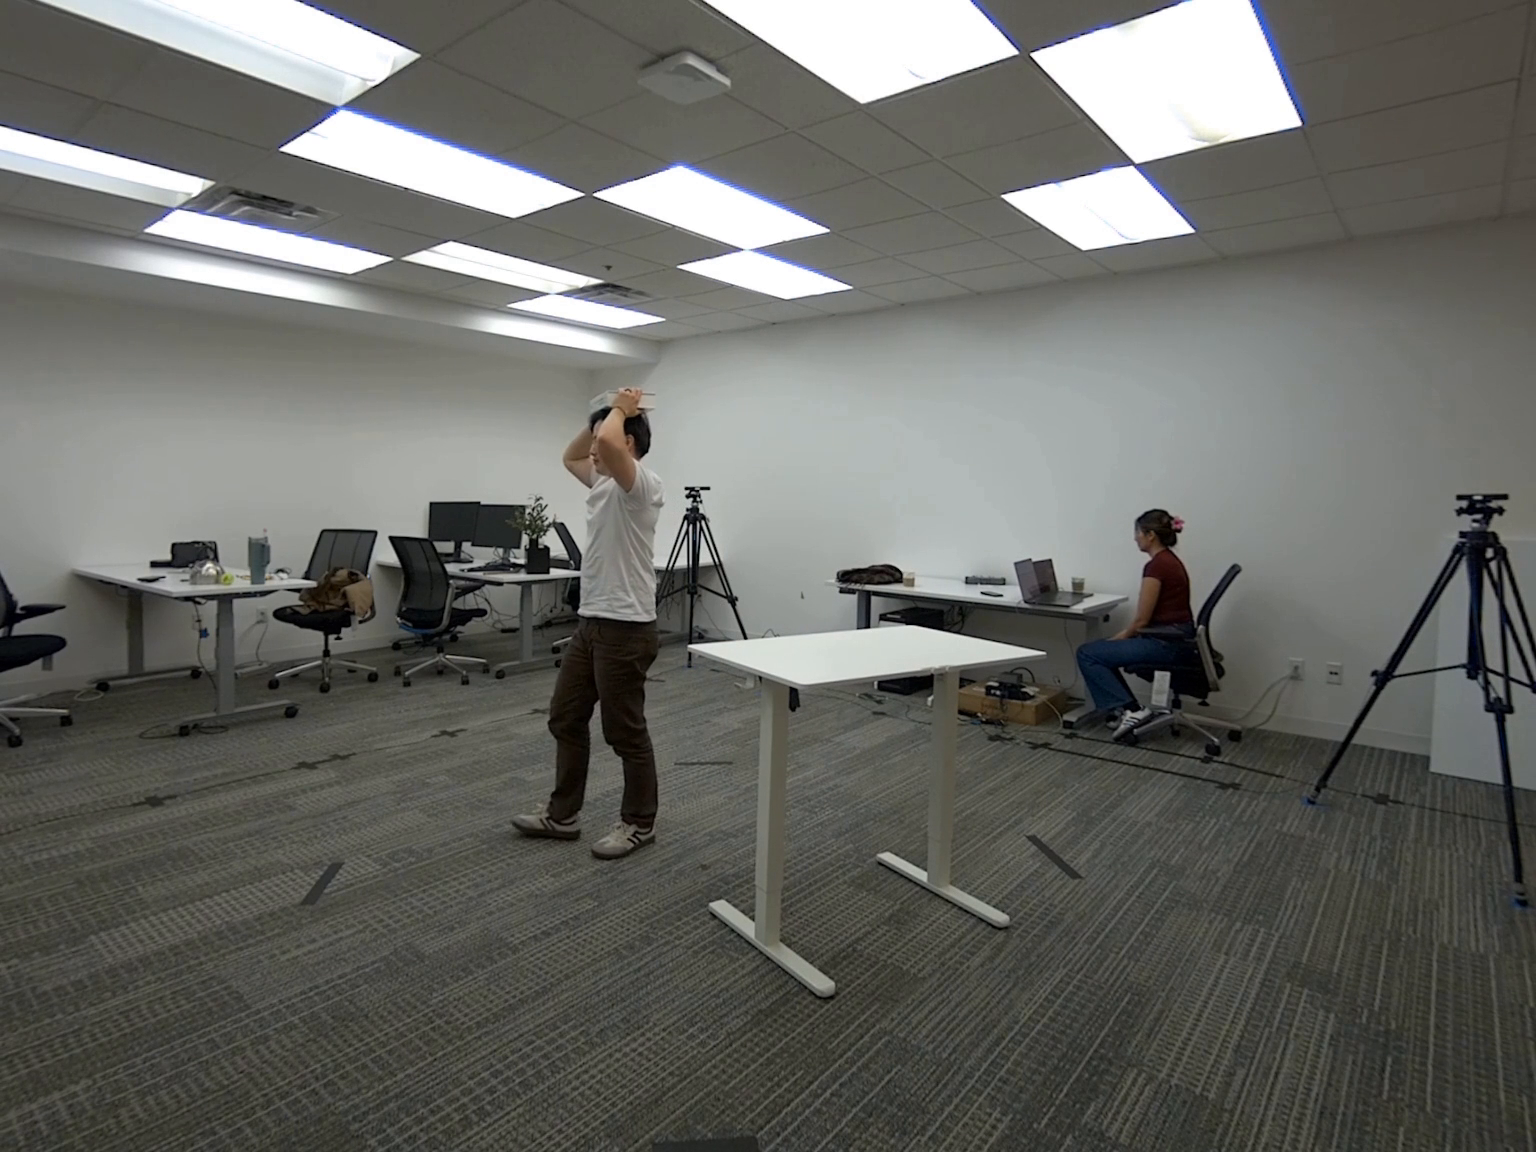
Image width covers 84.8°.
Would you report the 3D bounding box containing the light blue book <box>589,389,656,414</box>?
[{"bbox_3d":[-0.561,-0.654,3.217,0.187,0.059,0.267,-1,3,-25],"label":"light blue book"}]
